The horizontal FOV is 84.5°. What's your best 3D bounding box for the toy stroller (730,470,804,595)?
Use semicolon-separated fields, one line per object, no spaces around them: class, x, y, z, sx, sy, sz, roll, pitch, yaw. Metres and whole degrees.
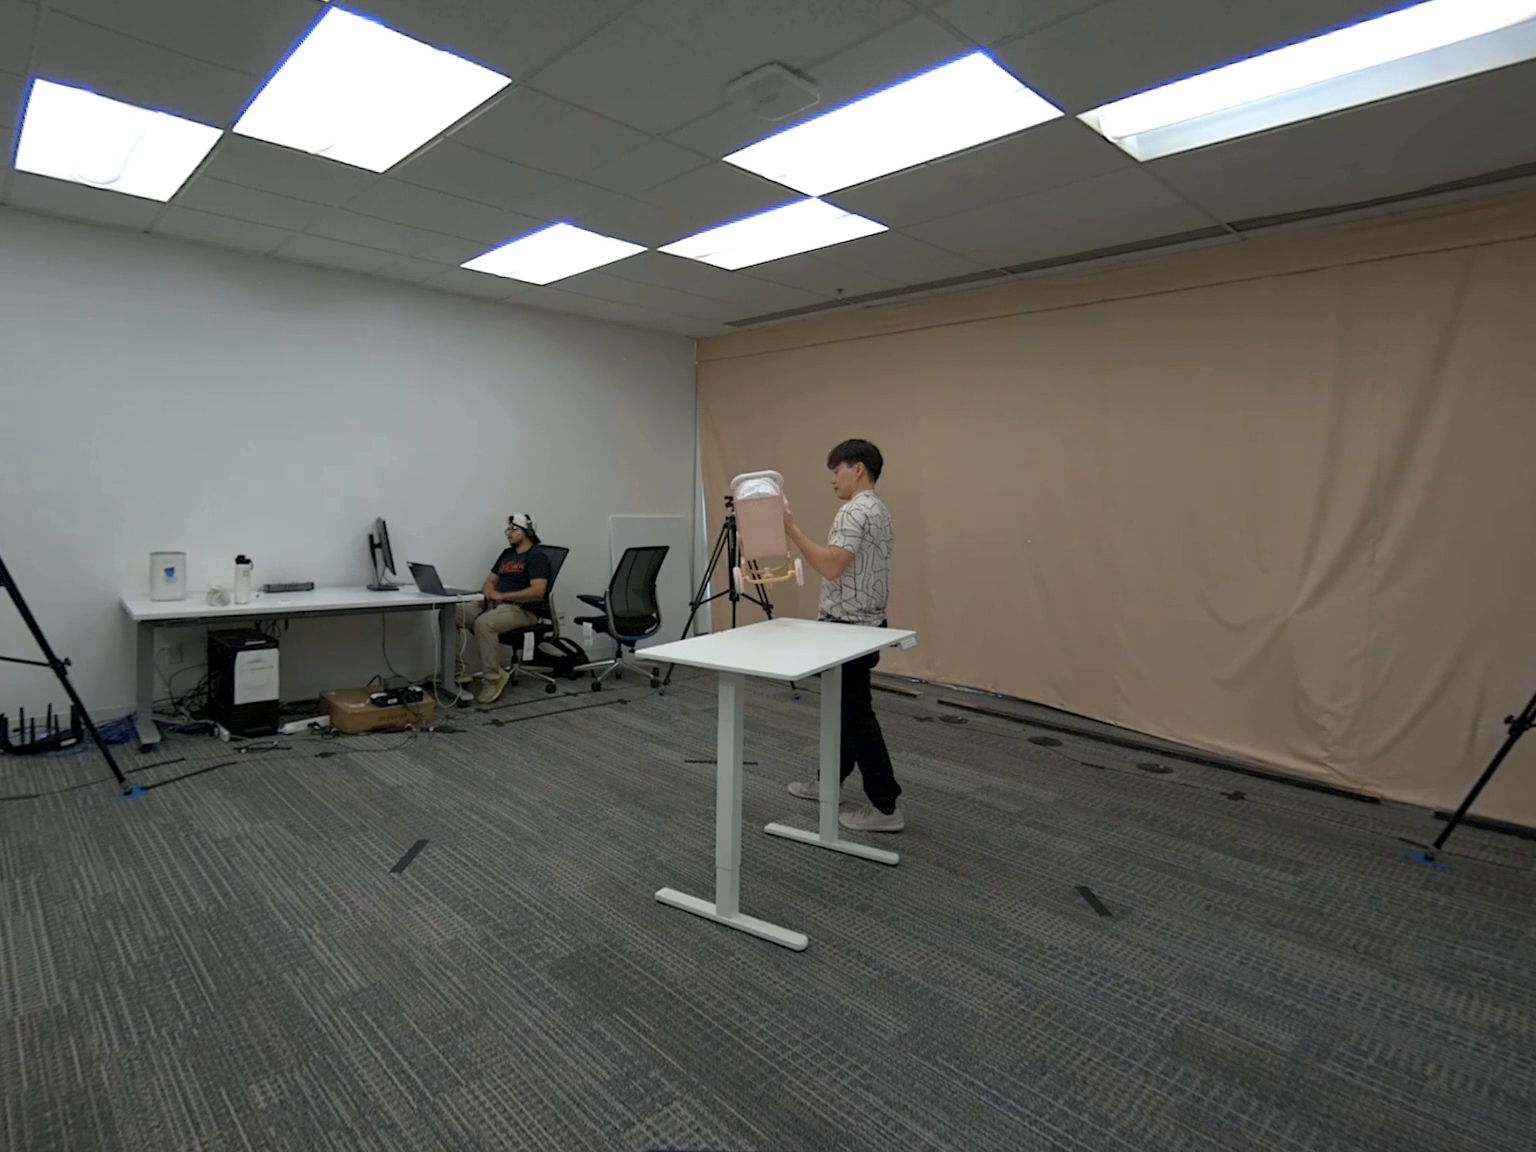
toy stroller;-0.019;-0.172;3.484;0.282;0.531;0.343;-7;9;4
